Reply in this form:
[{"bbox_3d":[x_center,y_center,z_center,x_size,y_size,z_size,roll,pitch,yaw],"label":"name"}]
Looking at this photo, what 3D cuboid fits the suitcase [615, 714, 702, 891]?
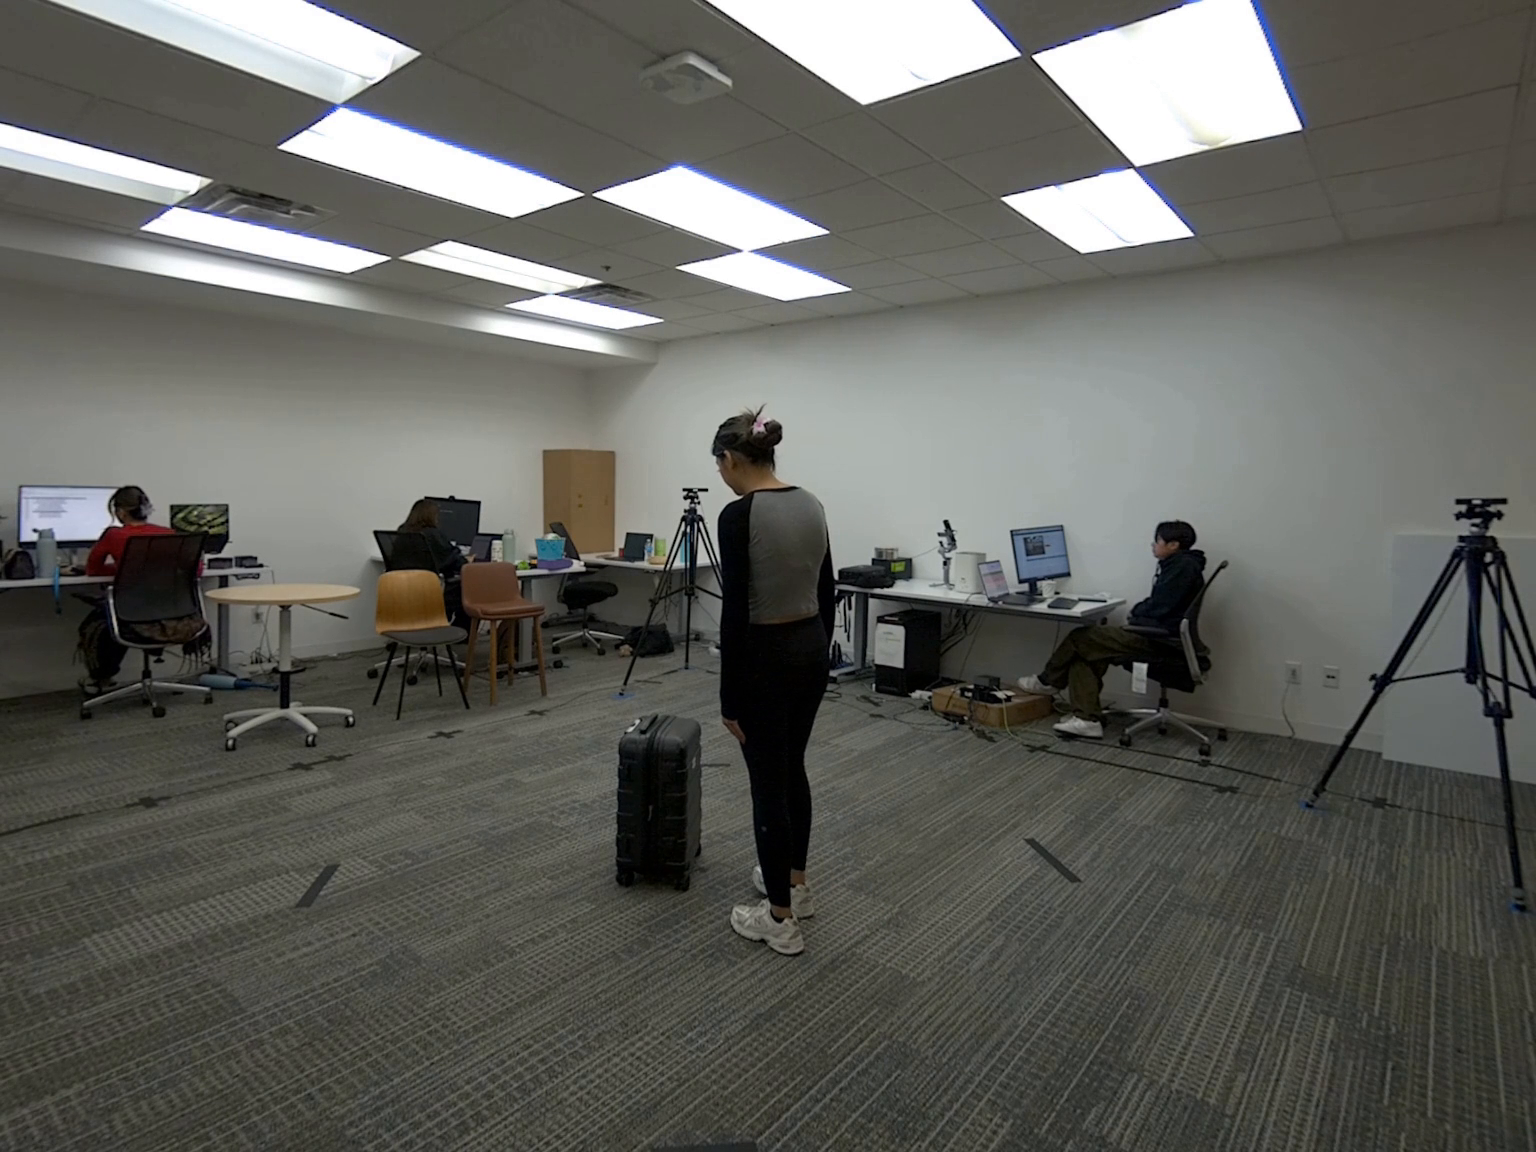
[{"bbox_3d":[-0.395,0.793,3.077,0.251,0.548,0.373,1,3,8],"label":"suitcase"}]
